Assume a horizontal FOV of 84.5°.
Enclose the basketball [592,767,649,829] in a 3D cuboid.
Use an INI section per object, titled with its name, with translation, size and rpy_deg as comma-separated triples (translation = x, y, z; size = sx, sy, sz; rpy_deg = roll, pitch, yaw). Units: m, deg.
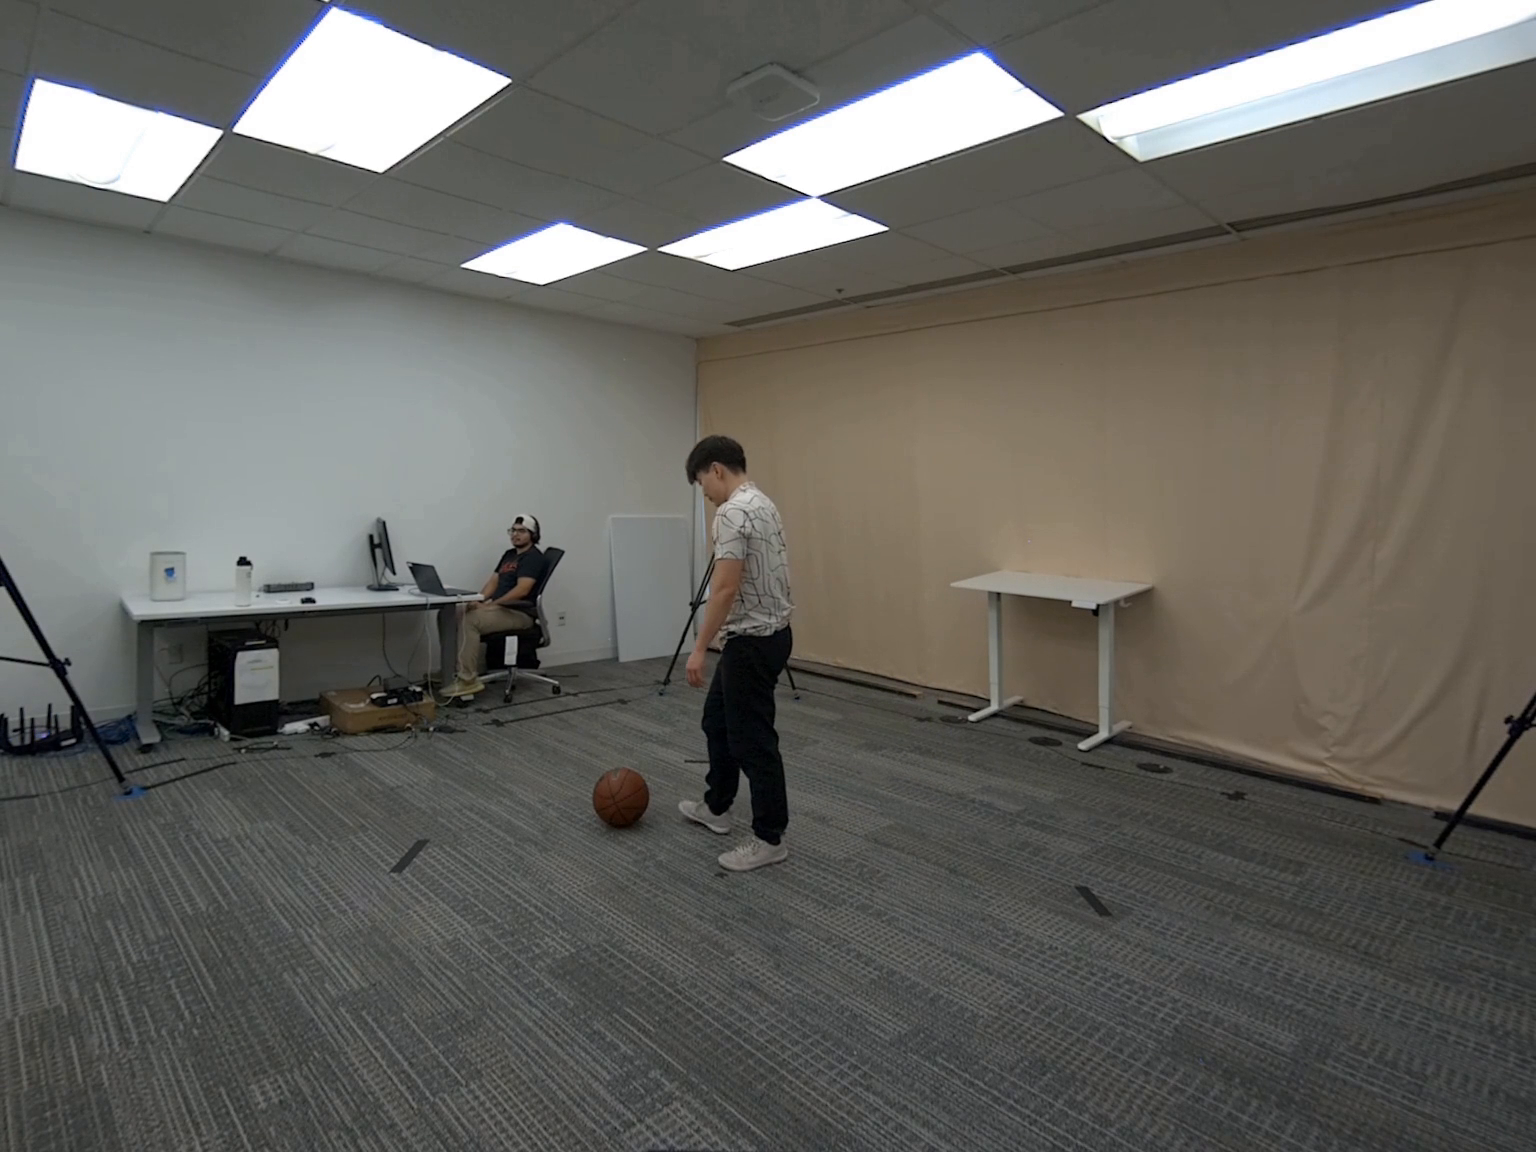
[basketball]
translation = -0.631, 0.930, 3.552
size = 0.236, 0.235, 0.237
rpy_deg = 1, 4, -1
